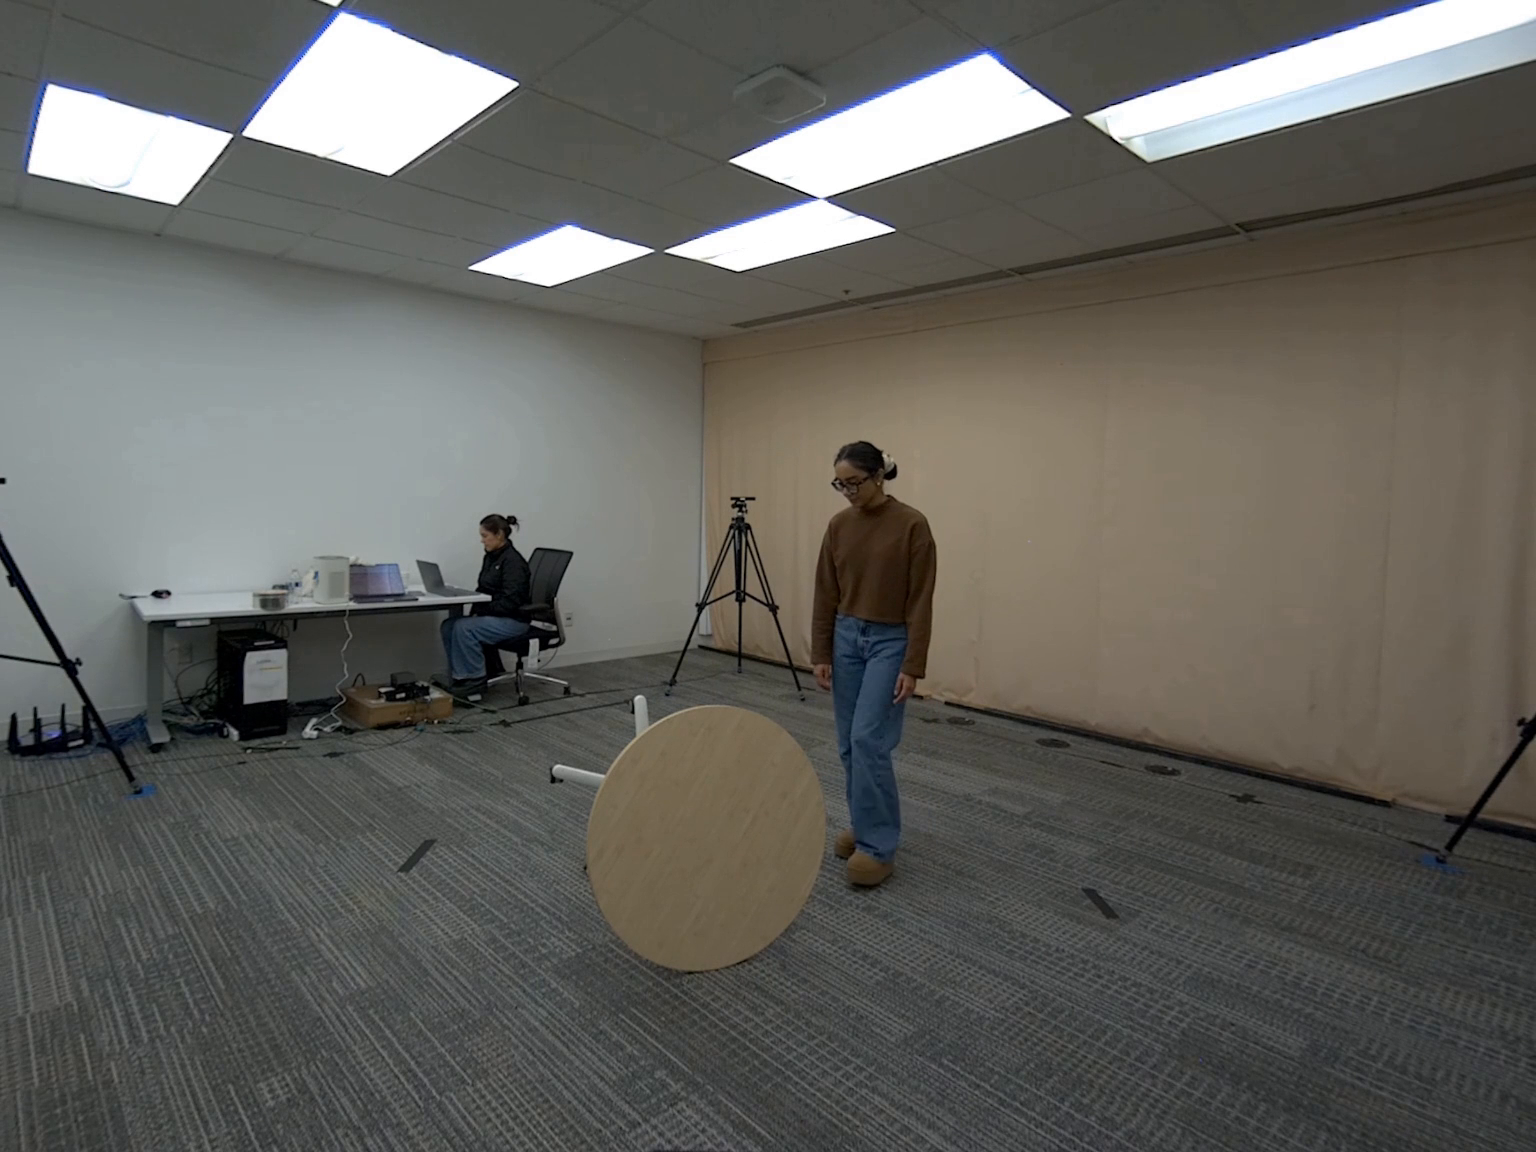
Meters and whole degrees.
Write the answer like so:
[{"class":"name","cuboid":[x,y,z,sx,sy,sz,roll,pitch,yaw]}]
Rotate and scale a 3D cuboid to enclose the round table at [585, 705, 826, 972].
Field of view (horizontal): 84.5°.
[{"class":"round table","cuboid":[-0.340,0.790,2.869,0.751,0.766,0.806,-1,-3,-24]}]
